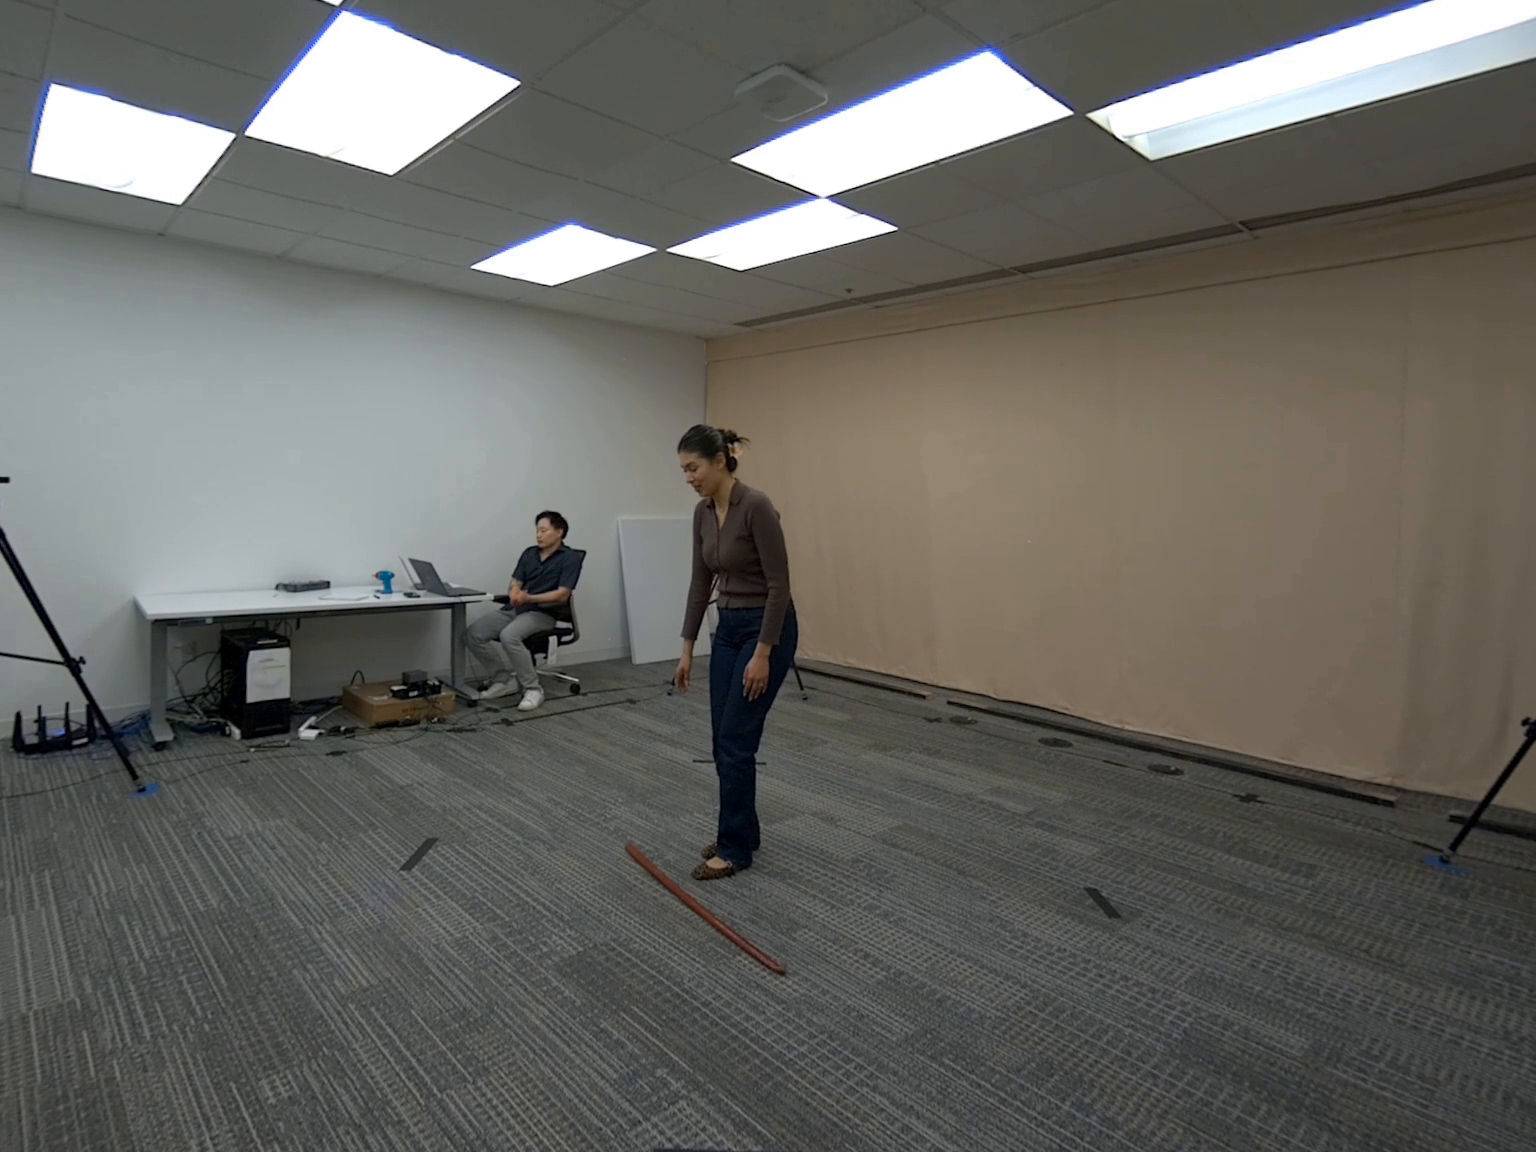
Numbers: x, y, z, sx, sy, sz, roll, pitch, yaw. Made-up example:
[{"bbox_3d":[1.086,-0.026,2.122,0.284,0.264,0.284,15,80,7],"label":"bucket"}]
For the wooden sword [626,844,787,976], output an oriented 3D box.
[{"bbox_3d":[-0.259,1.099,2.880,0.023,0.051,1.050,47,-21,-29],"label":"wooden sword"}]
